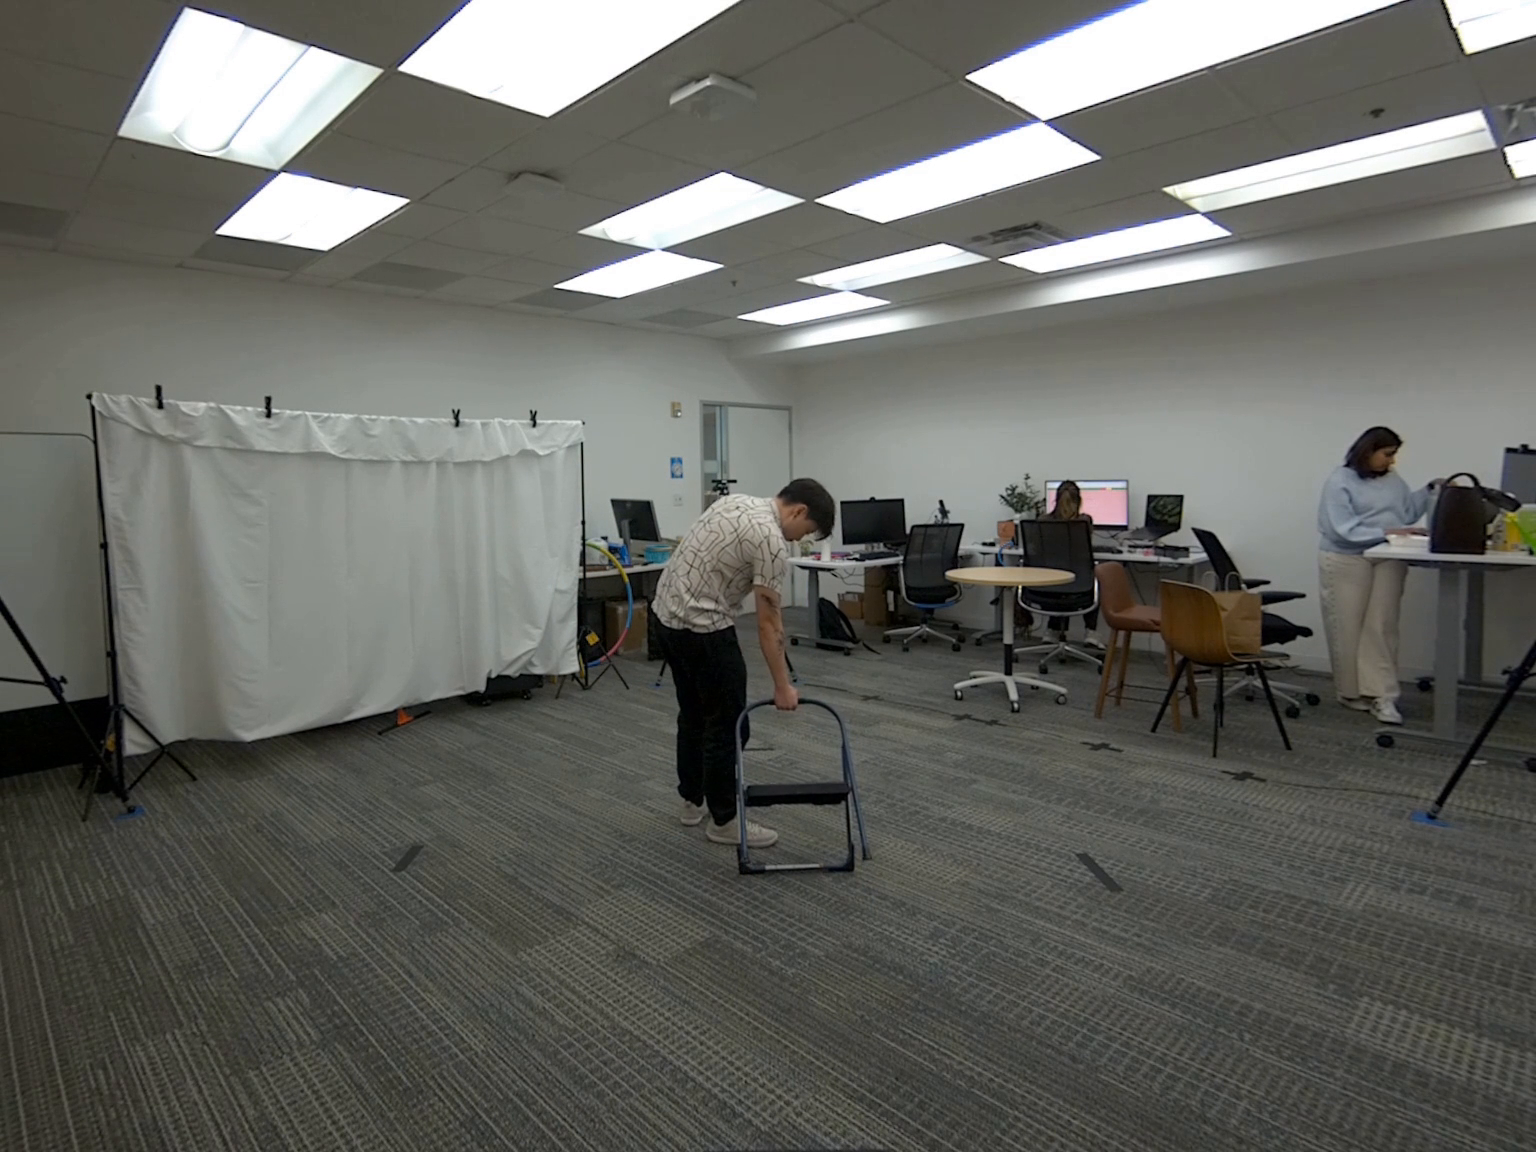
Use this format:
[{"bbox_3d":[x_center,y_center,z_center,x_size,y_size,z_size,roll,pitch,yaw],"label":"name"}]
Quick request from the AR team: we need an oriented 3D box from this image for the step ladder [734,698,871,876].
[{"bbox_3d":[0.102,0.715,3.033,0.430,0.620,0.342,-1,-27,-3],"label":"step ladder"}]
